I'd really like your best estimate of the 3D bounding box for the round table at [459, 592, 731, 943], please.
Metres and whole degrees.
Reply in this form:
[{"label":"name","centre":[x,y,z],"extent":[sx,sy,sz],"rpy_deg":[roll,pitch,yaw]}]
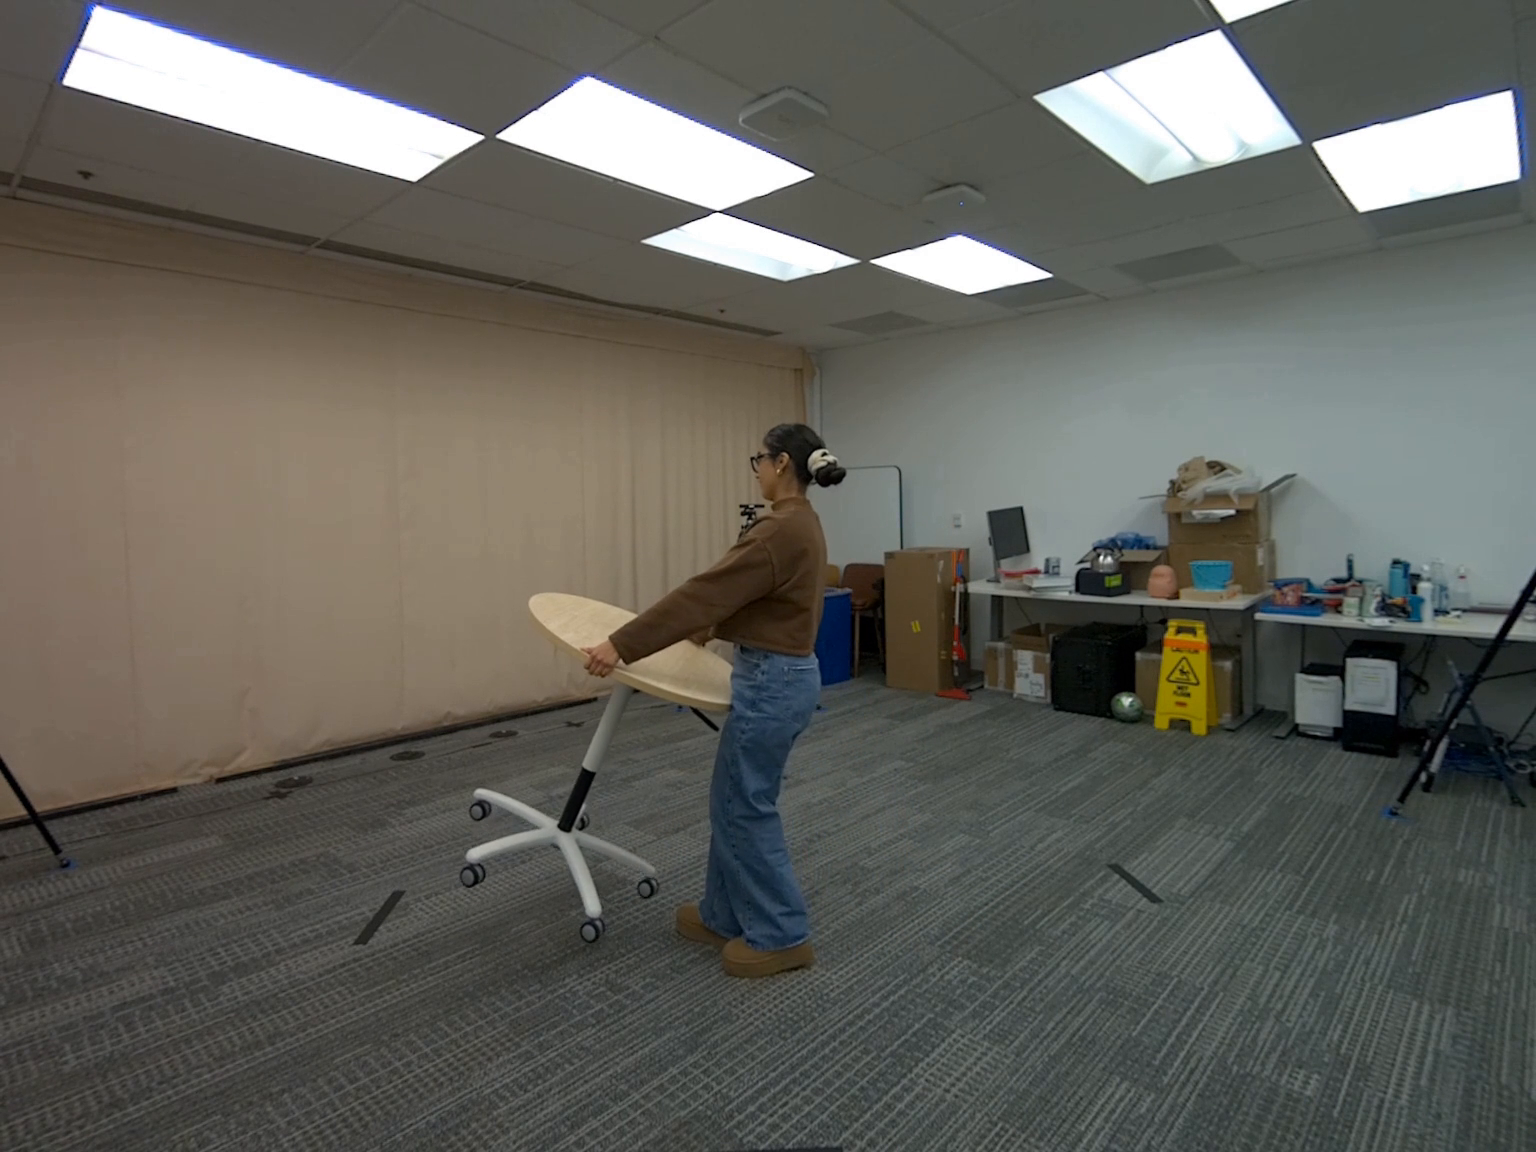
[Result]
[{"label":"round table","centre":[-0.565,0.583,2.692],"extent":[0.782,0.786,0.789],"rpy_deg":[23,5,-4]}]
